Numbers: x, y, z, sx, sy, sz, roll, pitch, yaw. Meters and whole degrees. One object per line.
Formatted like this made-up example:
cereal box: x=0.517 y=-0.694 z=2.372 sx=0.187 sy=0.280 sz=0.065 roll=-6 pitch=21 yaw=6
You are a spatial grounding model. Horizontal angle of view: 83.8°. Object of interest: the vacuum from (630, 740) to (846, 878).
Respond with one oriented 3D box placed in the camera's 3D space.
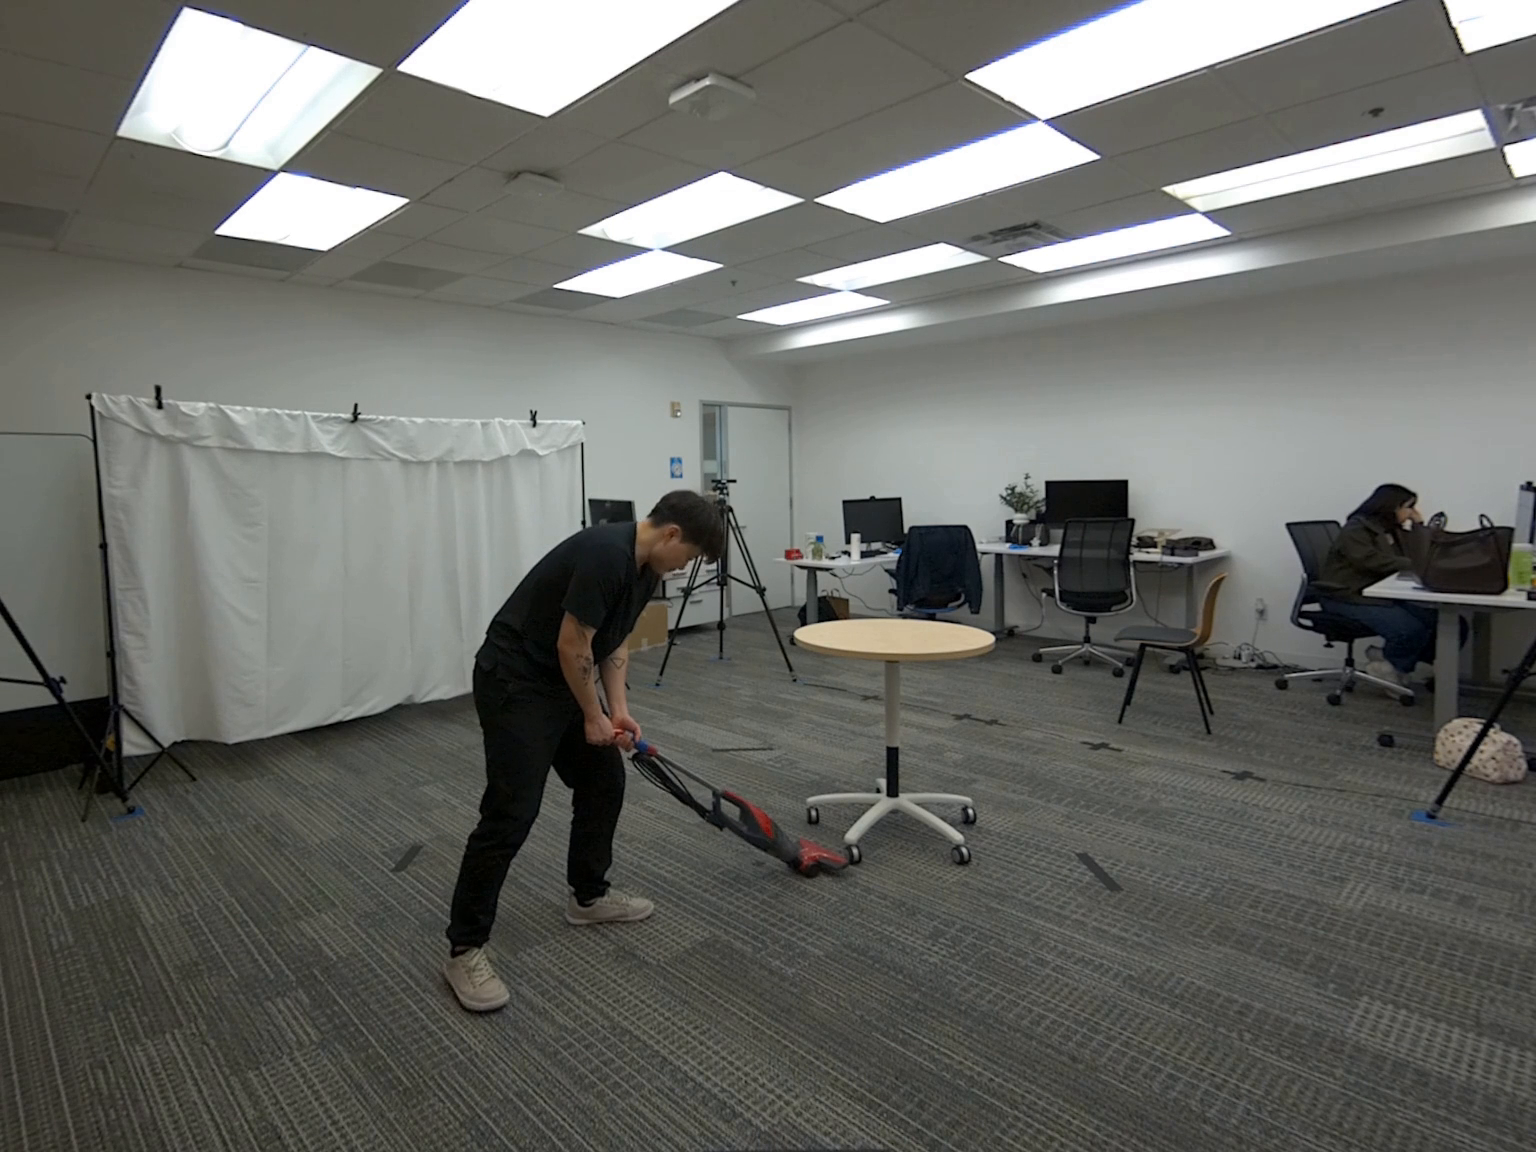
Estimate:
vacuum: x=-0.181 y=0.756 z=2.814 sx=1.014 sy=0.145 sz=0.260 roll=37 pitch=-20 yaw=-31
